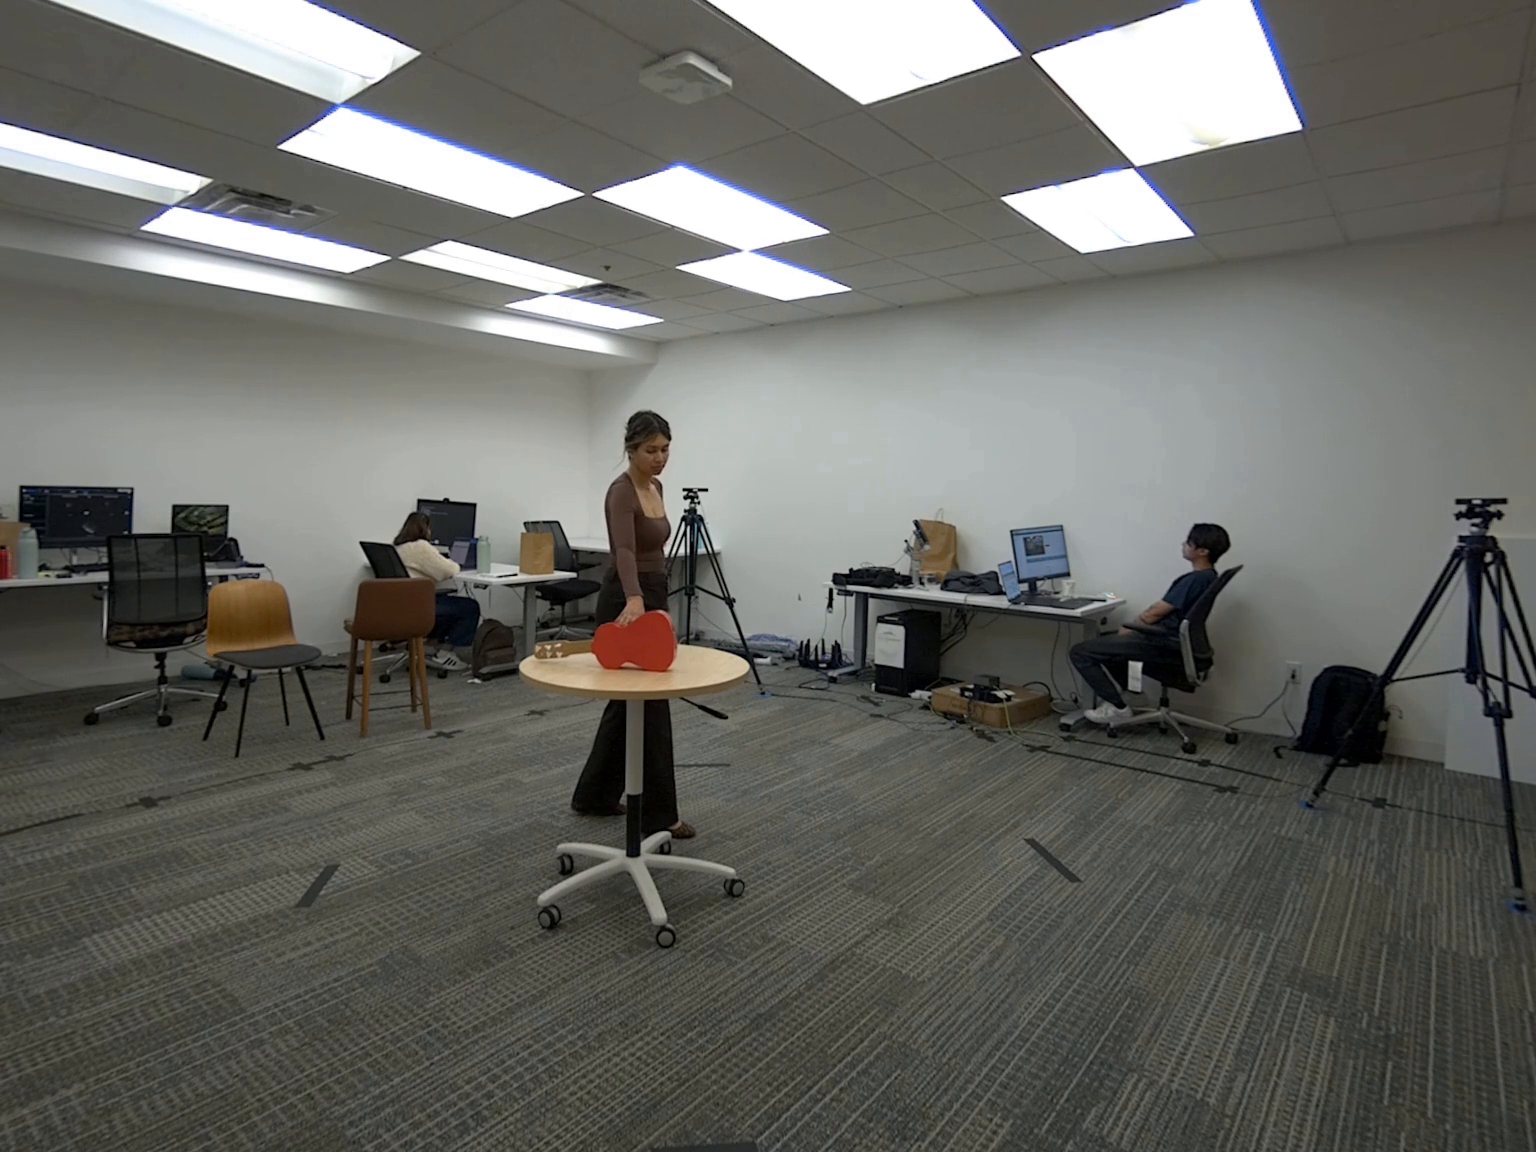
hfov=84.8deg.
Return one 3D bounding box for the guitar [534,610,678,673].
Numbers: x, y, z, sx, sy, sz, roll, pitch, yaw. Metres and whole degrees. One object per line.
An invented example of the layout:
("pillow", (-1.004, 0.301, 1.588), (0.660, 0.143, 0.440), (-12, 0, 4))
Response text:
("guitar", (-0.553, 0.255, 2.804), (0.502, 0.193, 0.070), (-15, 0, 10))
